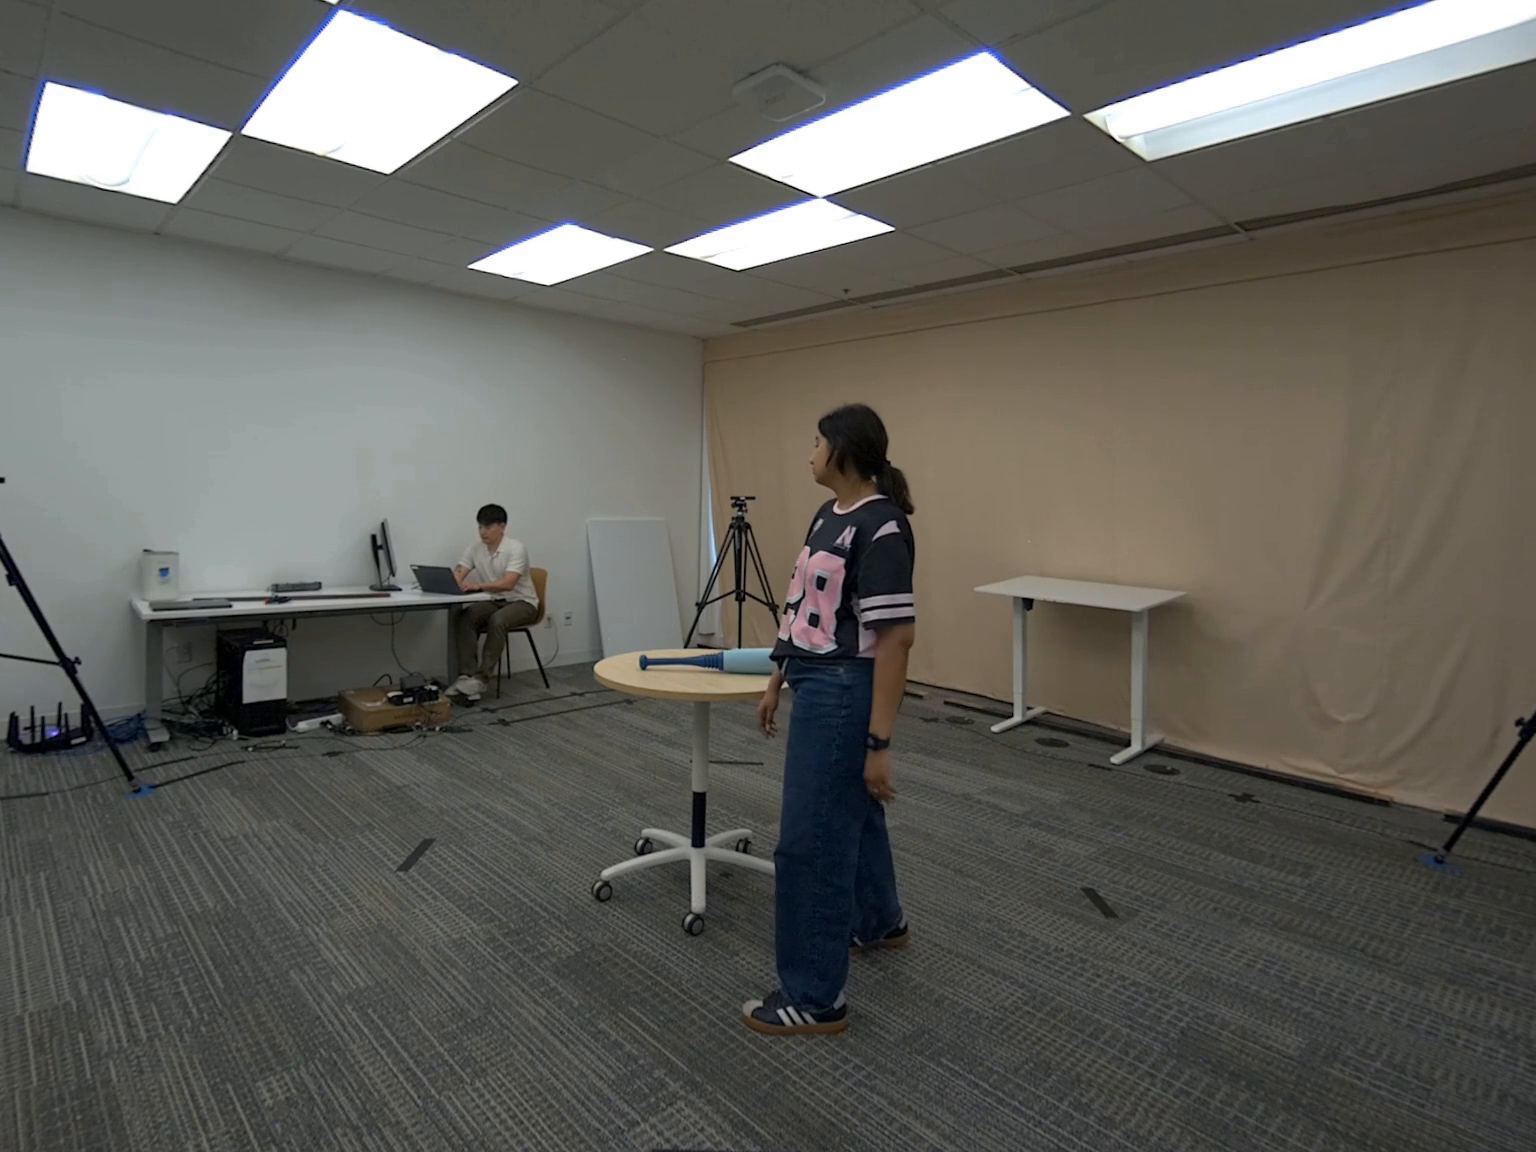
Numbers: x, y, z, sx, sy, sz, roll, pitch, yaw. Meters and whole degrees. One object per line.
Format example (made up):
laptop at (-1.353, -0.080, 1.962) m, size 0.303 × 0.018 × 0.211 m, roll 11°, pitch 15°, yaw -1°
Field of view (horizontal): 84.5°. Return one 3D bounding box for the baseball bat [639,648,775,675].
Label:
baseball bat at (-0.183, 0.298, 2.927) m, size 0.543 × 0.089 × 0.089 m, roll 0°, pitch 4°, yaw 0°
